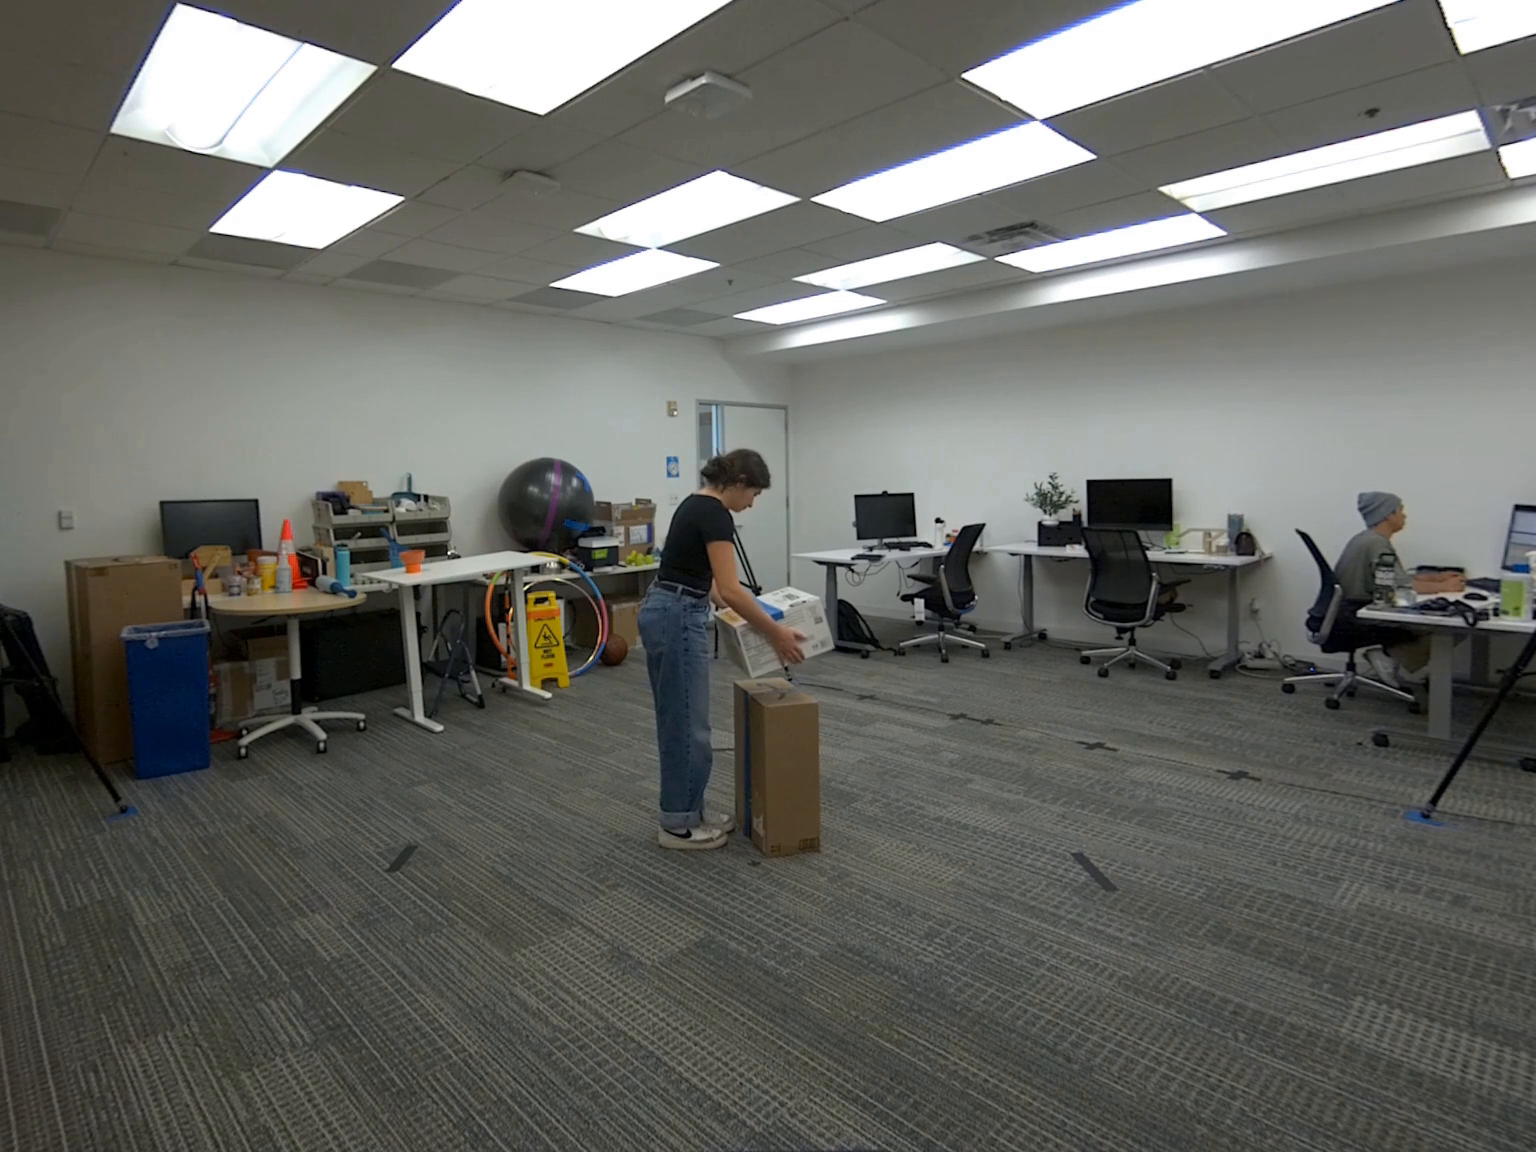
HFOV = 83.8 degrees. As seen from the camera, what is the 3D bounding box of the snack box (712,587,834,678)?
[{"bbox_3d":[0.010,0.207,3.324,0.338,0.204,0.412,-19,9,-12],"label":"snack box"}]
